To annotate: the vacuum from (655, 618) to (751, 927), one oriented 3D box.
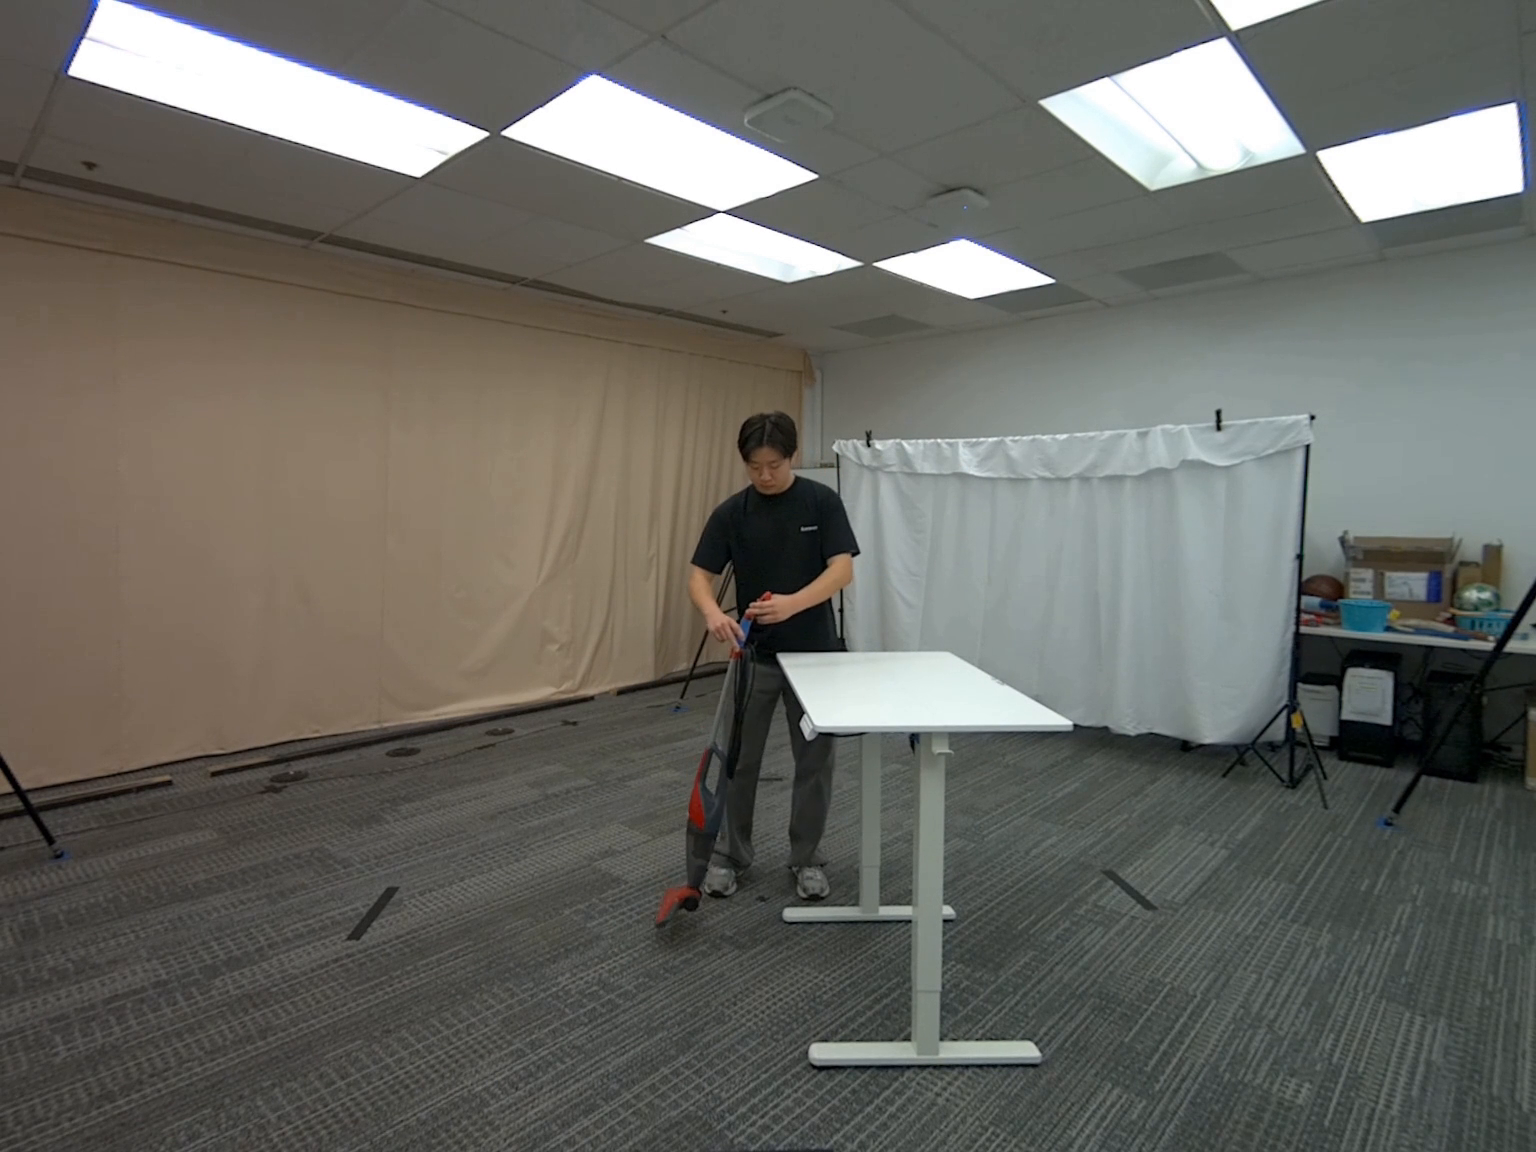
[{"bbox_3d":[-0.151,0.583,2.728,0.145,1.048,0.252,15,4,2],"label":"vacuum"}]
